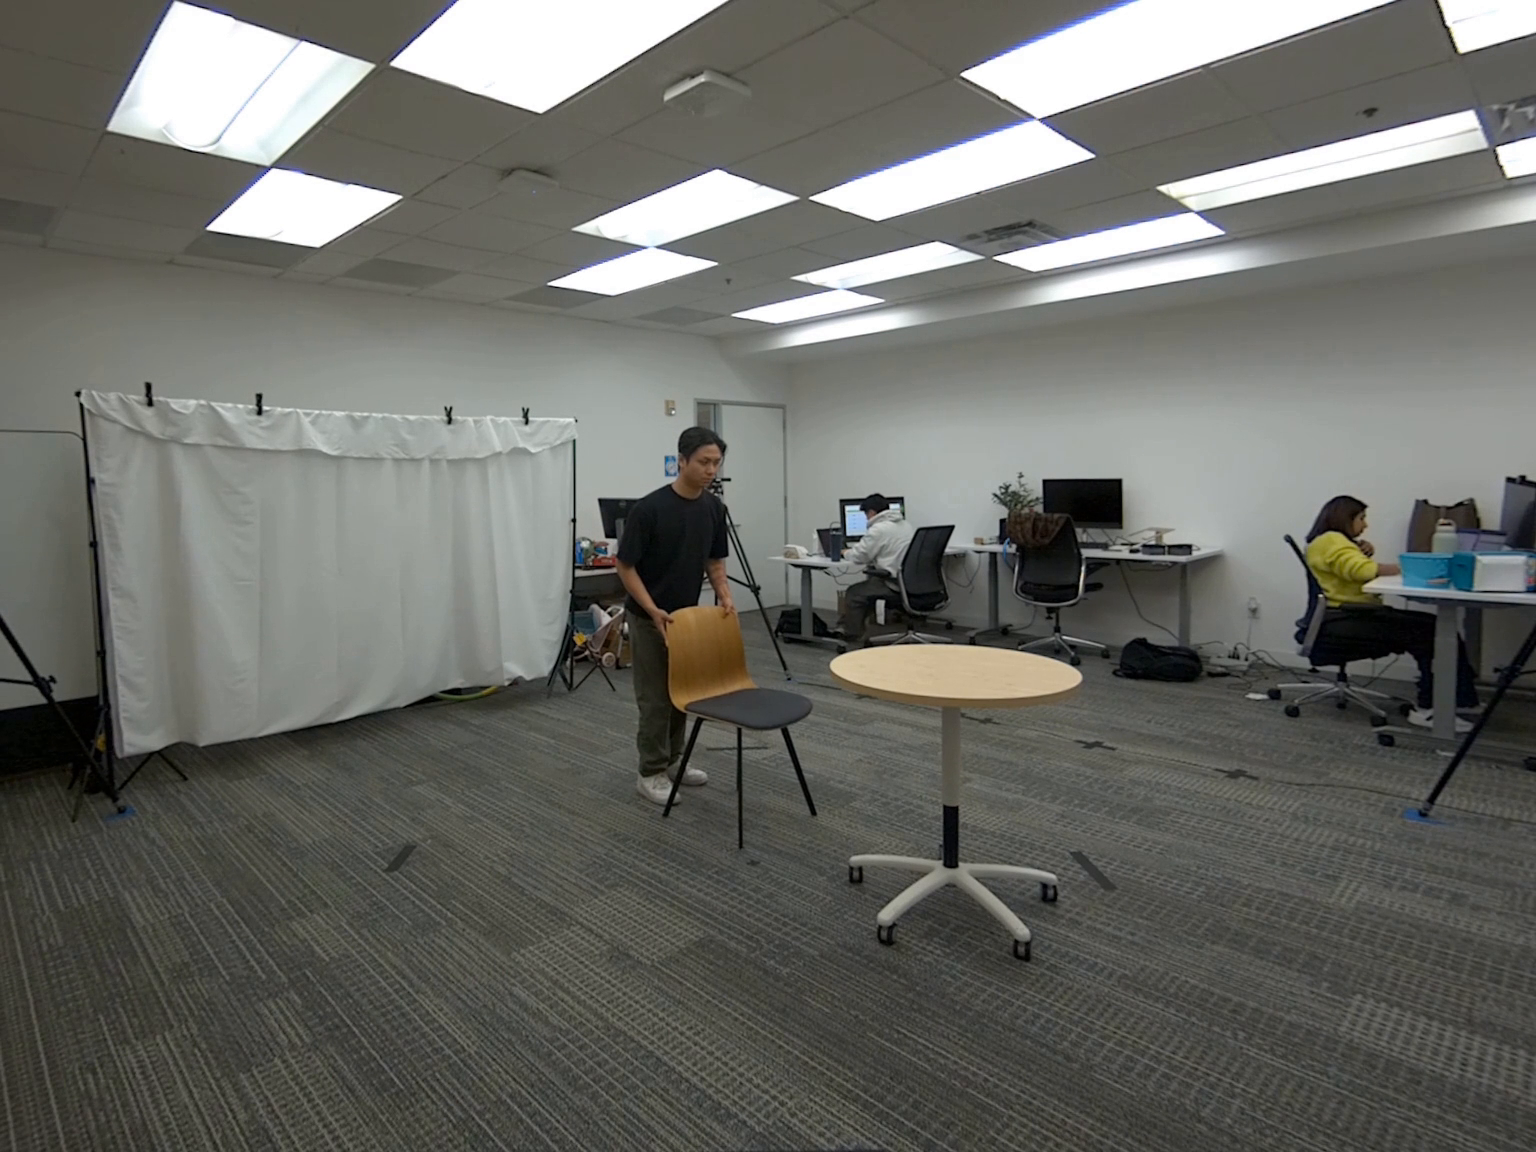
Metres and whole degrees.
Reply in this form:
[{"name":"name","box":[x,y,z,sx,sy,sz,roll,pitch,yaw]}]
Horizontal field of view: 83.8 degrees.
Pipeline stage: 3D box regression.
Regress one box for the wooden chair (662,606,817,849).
[{"name":"wooden chair","box":[-0.115,0.568,3.493,0.537,0.877,0.465,-3,1,44]}]
